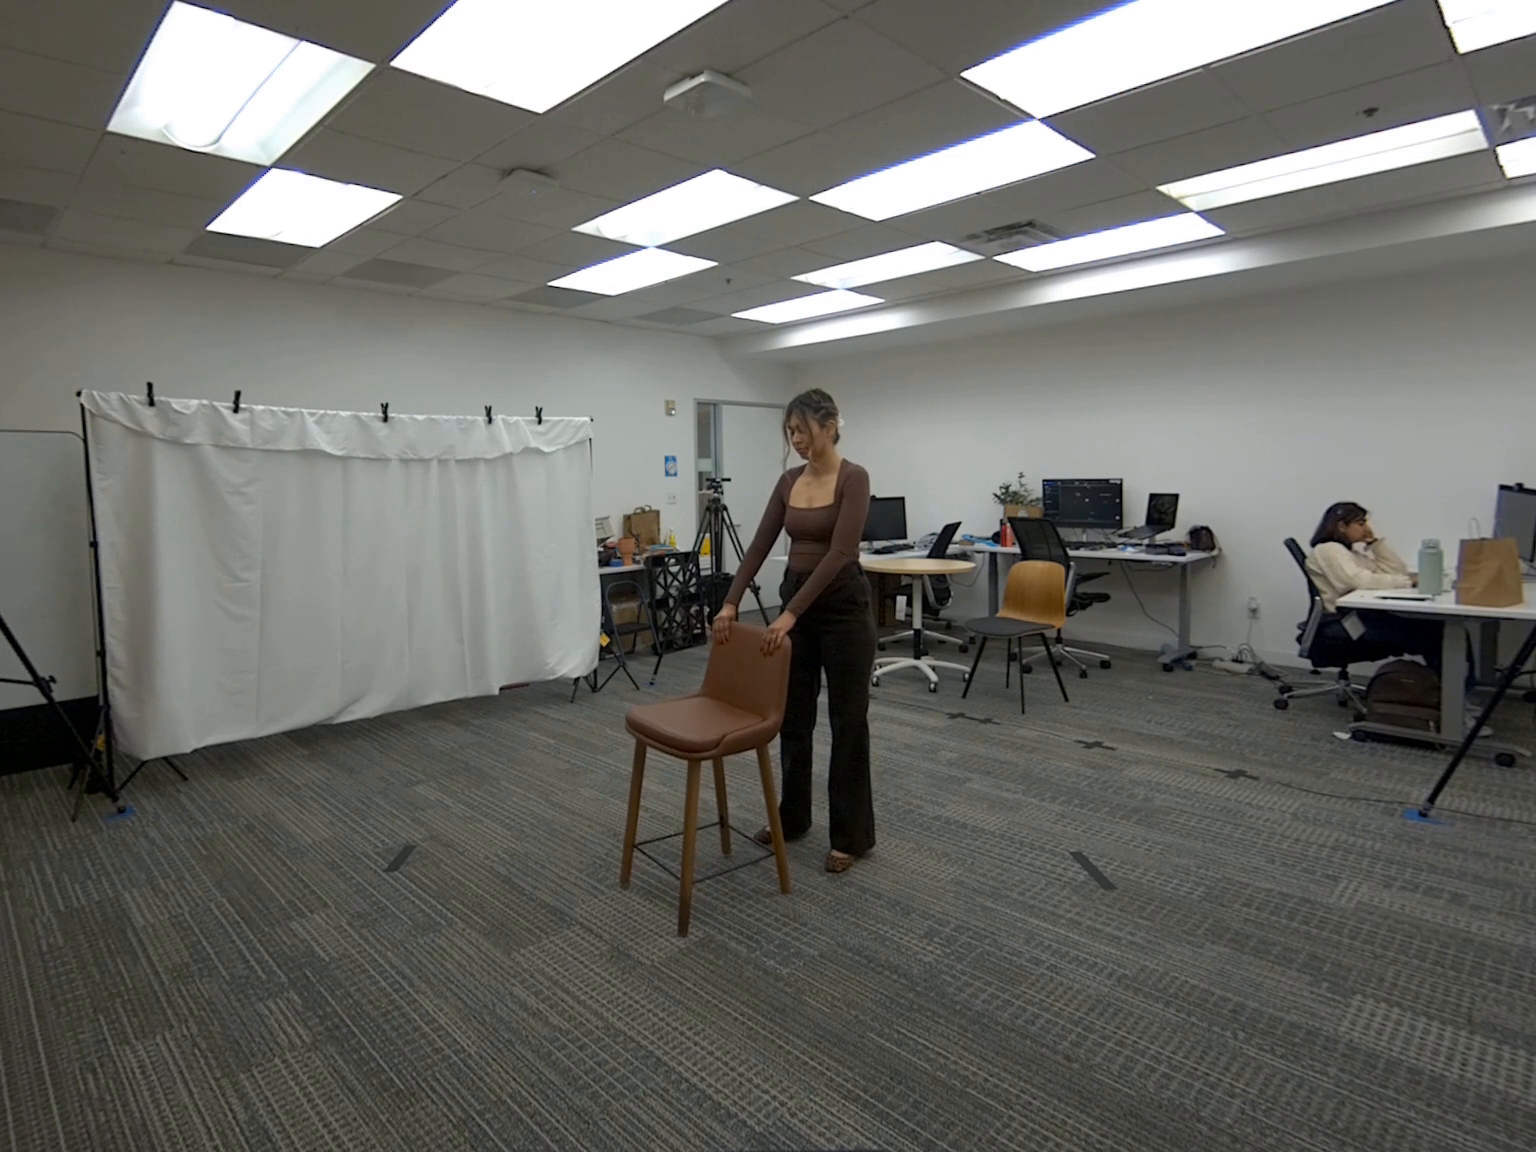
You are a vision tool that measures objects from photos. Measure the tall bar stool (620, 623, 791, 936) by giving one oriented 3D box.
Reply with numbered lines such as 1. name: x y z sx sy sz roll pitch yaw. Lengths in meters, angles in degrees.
1. tall bar stool: -0.198 0.631 2.867 0.455 0.886 0.470 -1 5 -36
